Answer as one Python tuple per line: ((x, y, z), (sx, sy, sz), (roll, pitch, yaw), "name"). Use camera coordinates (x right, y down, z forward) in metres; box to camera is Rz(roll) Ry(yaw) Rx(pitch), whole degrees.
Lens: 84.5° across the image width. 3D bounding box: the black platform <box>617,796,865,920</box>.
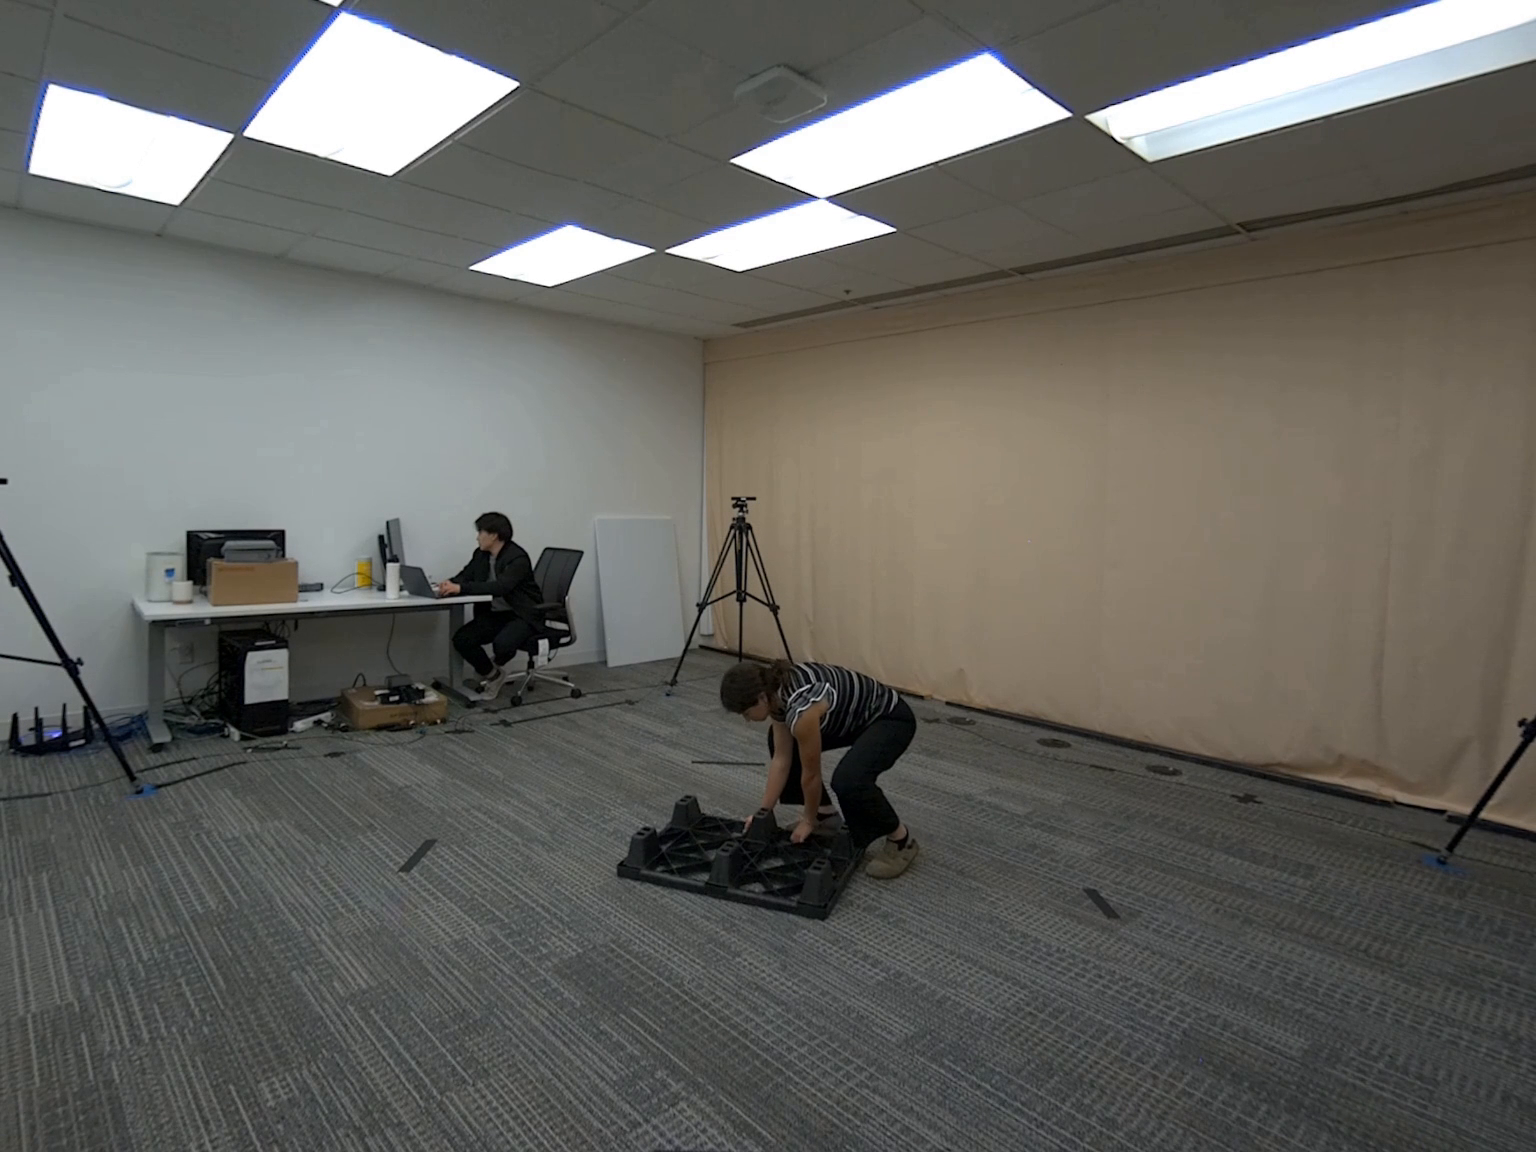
((-0.087, 1.022, 3.200), (0.820, 0.143, 0.597), (4, 7, 21), "black platform")
